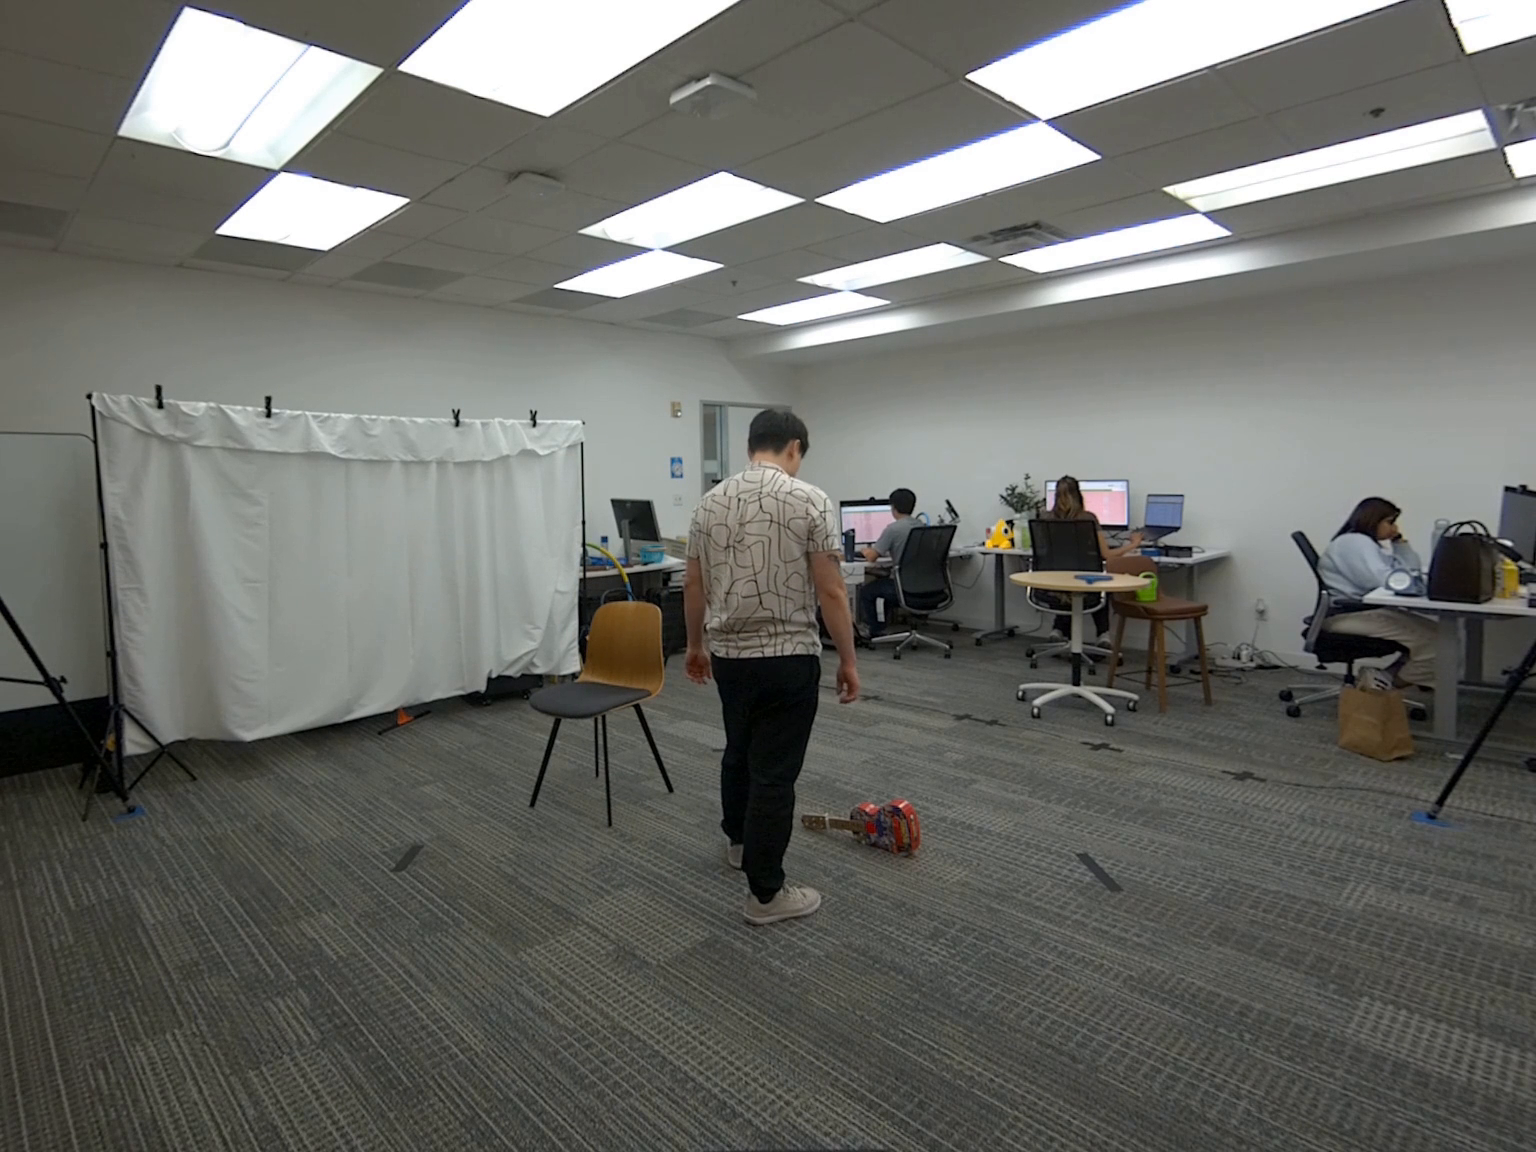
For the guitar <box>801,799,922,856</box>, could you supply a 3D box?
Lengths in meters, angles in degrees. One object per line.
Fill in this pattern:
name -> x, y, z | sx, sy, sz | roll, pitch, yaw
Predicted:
guitar -> 0.345, 0.929, 3.287 | 0.513, 0.192, 0.069 | 3, 10, 40
